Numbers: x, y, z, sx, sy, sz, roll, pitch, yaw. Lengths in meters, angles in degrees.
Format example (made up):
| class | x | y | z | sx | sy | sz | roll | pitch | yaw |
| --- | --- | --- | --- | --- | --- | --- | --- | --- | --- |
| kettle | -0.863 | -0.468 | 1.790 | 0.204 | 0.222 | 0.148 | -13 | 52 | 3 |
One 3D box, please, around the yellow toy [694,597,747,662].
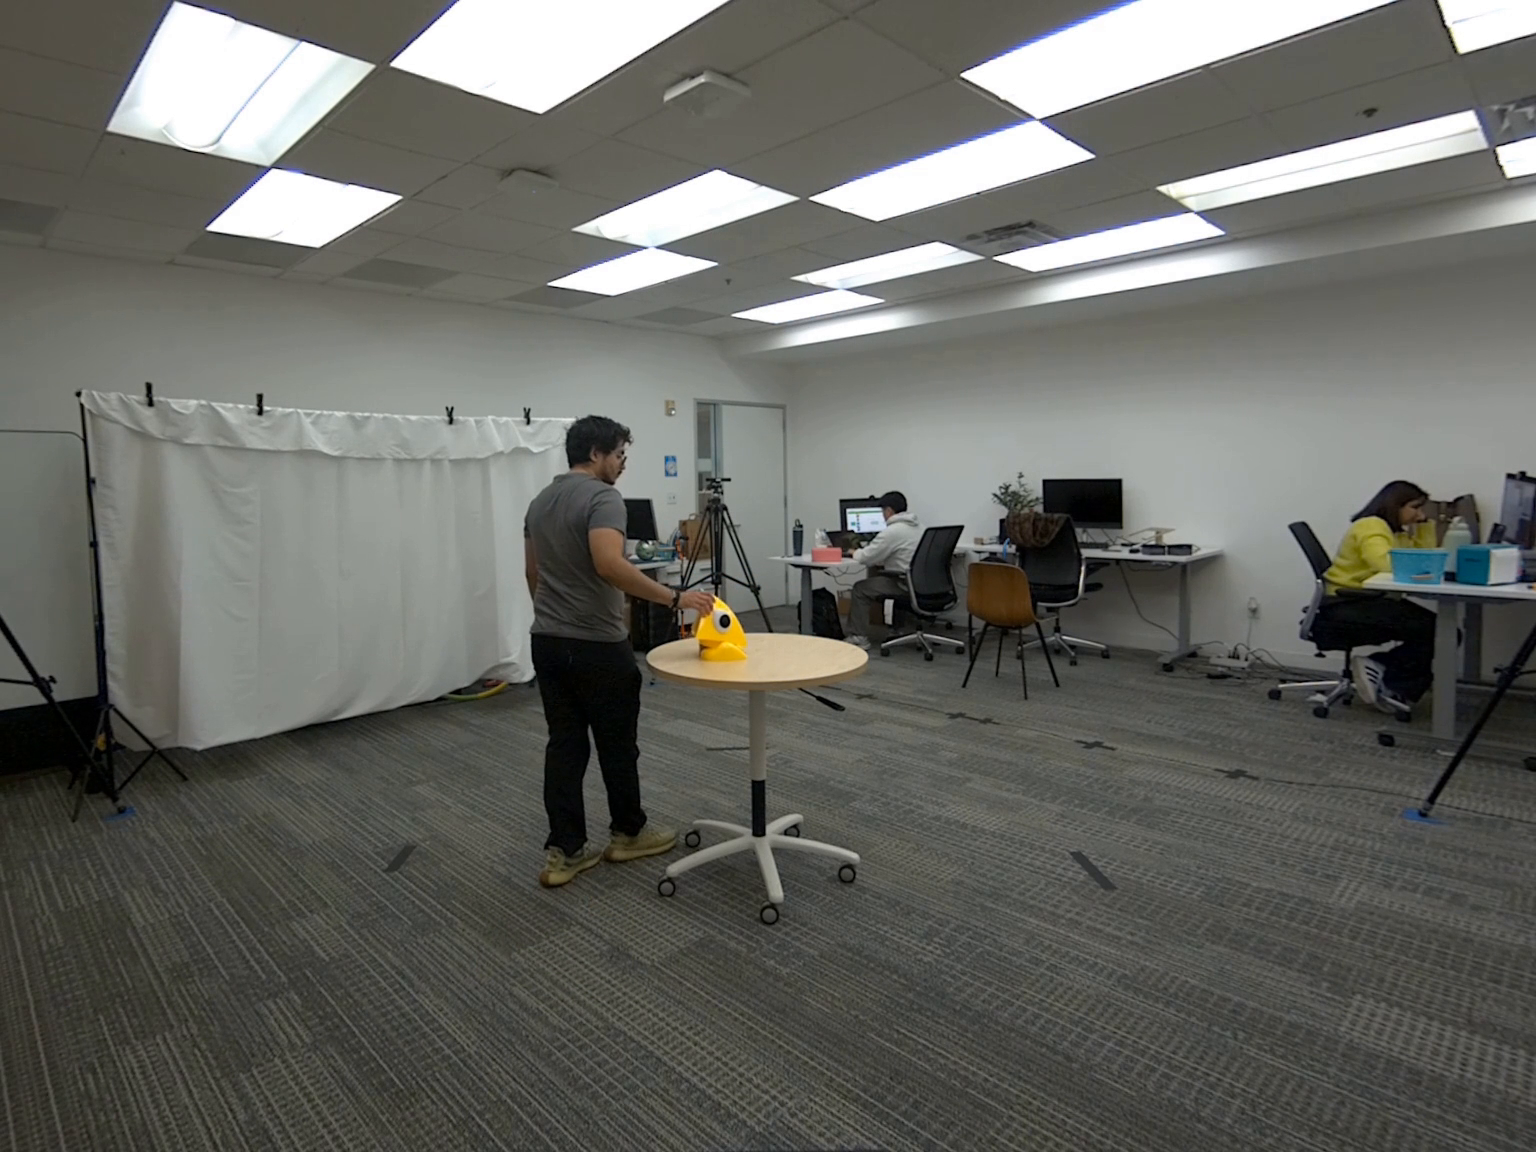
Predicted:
| class | x | y | z | sx | sy | sz | roll | pitch | yaw |
| --- | --- | --- | --- | --- | --- | --- | --- | --- | --- |
| yellow toy | -0.166 | 0.159 | 2.961 | 0.192 | 0.230 | 0.207 | 0 | 4 | -7 |
